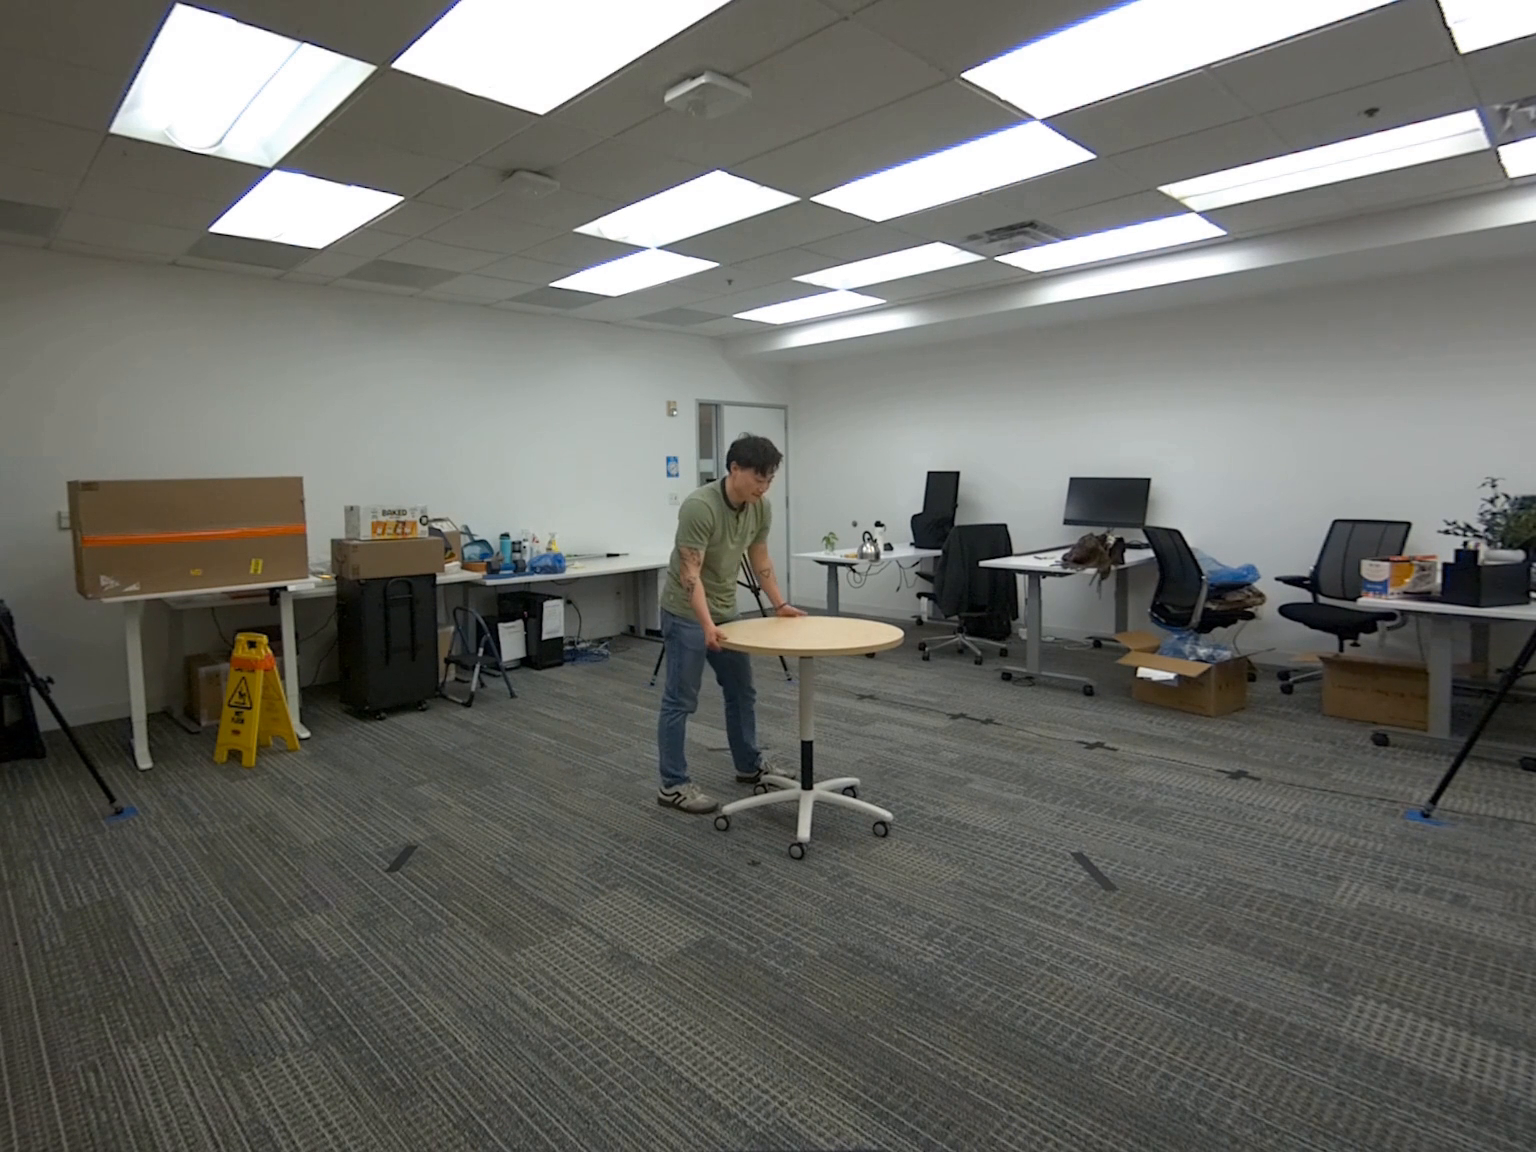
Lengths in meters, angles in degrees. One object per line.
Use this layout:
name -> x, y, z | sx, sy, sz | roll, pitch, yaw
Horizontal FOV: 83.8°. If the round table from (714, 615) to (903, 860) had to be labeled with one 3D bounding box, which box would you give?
round table -> 0.151, 0.613, 3.439 | 0.763, 0.791, 0.768 | 0, 5, -2
